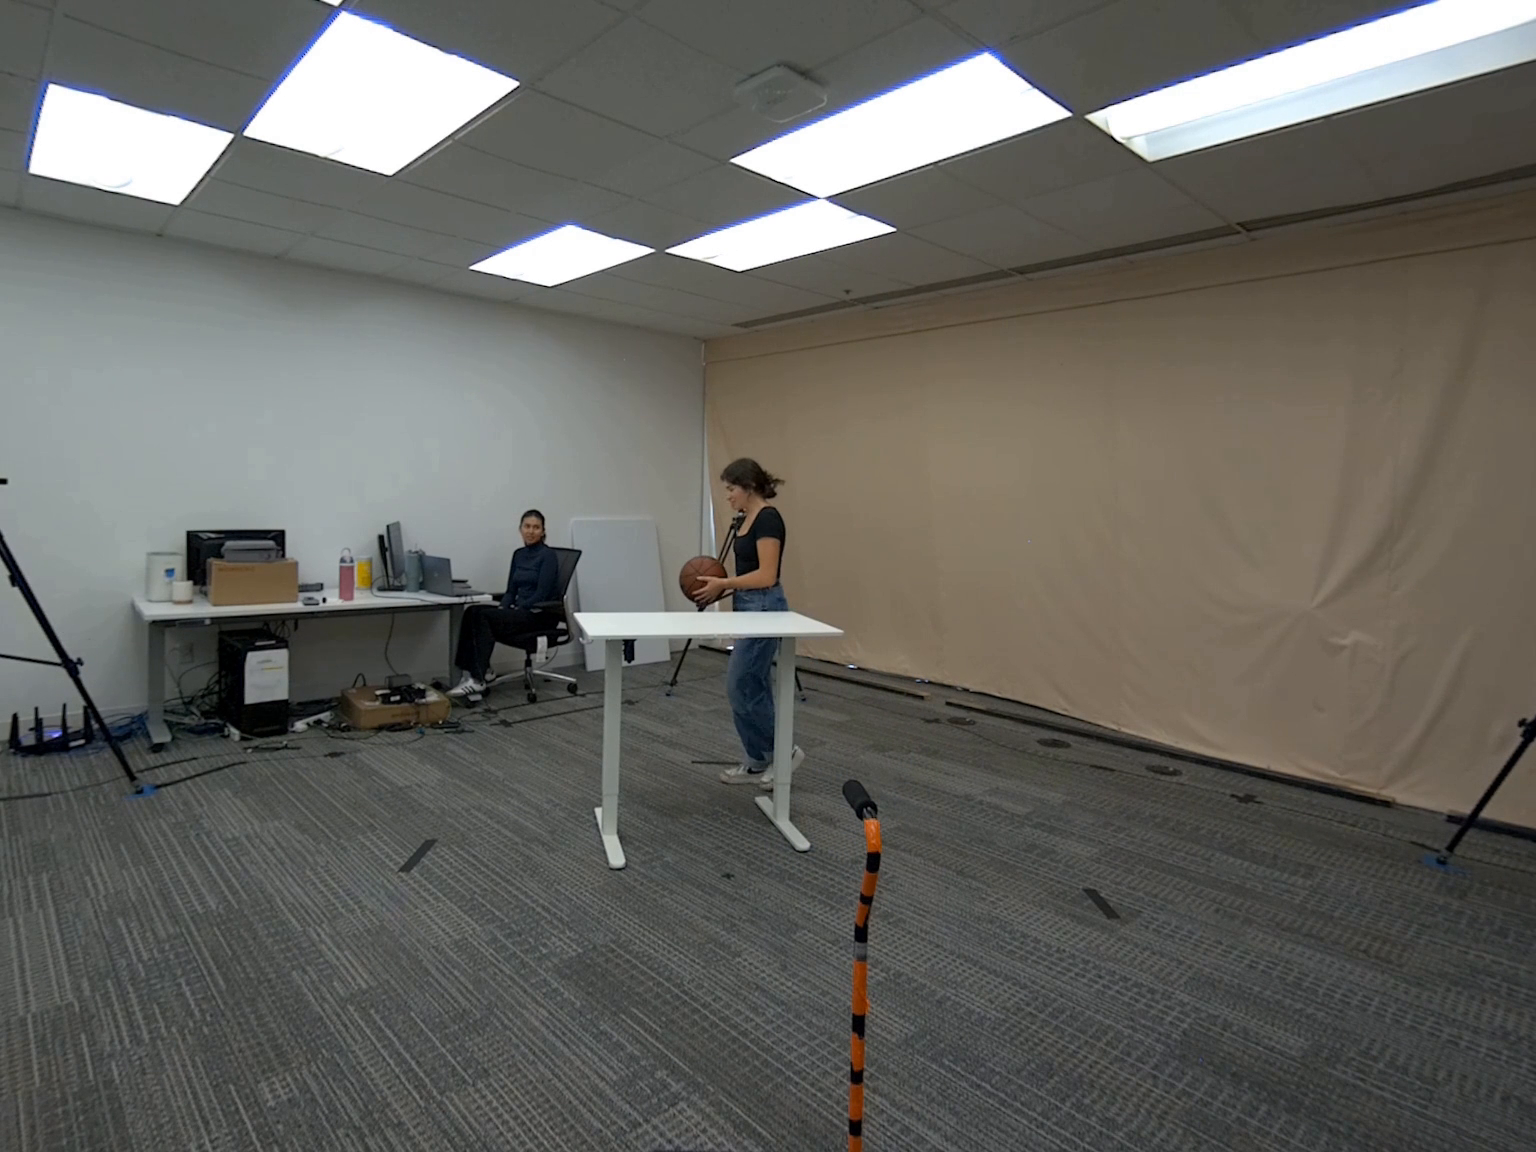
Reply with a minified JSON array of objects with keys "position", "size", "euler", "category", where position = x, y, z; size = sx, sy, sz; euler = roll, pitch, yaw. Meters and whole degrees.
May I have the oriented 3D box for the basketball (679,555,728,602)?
[{"position":[-0.323,0.015,4.096],"size":[0.236,0.235,0.237],"euler":[1,4,-1],"category":"basketball"}]
